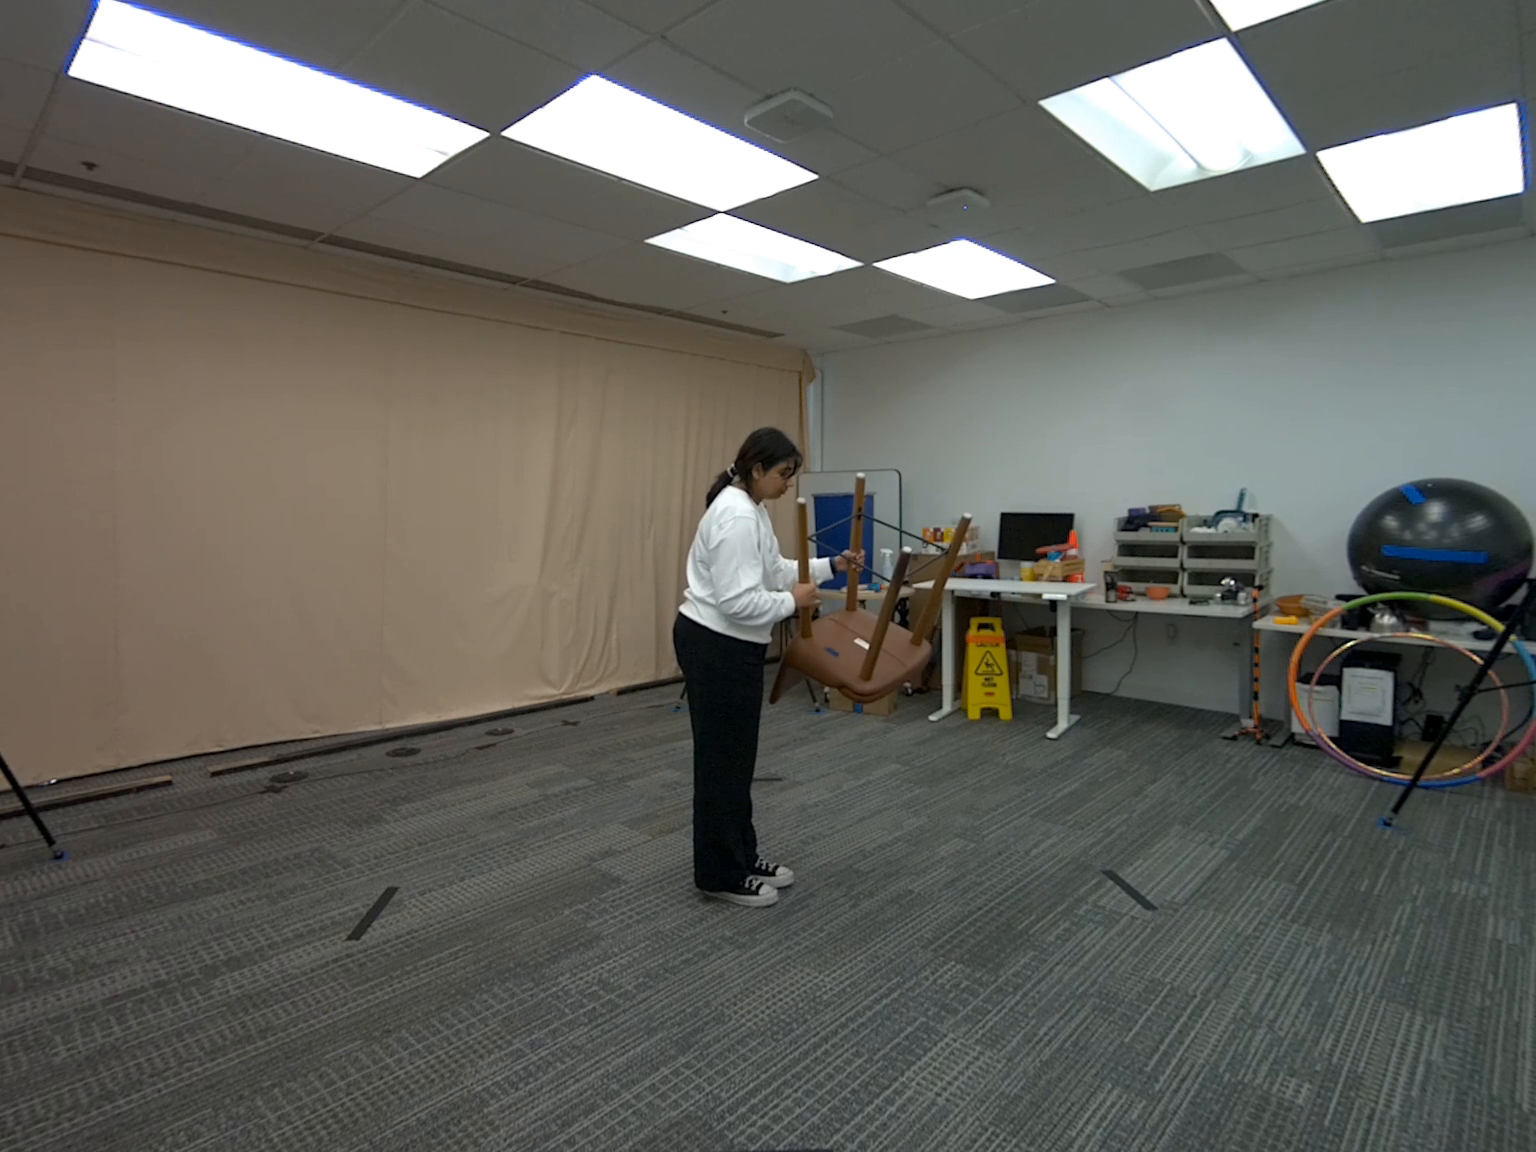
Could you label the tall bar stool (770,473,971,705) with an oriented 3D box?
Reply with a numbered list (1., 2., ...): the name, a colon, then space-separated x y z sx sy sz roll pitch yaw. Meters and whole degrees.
1. tall bar stool: 0.336 0.155 3.012 0.484 0.879 0.446 30 36 32
